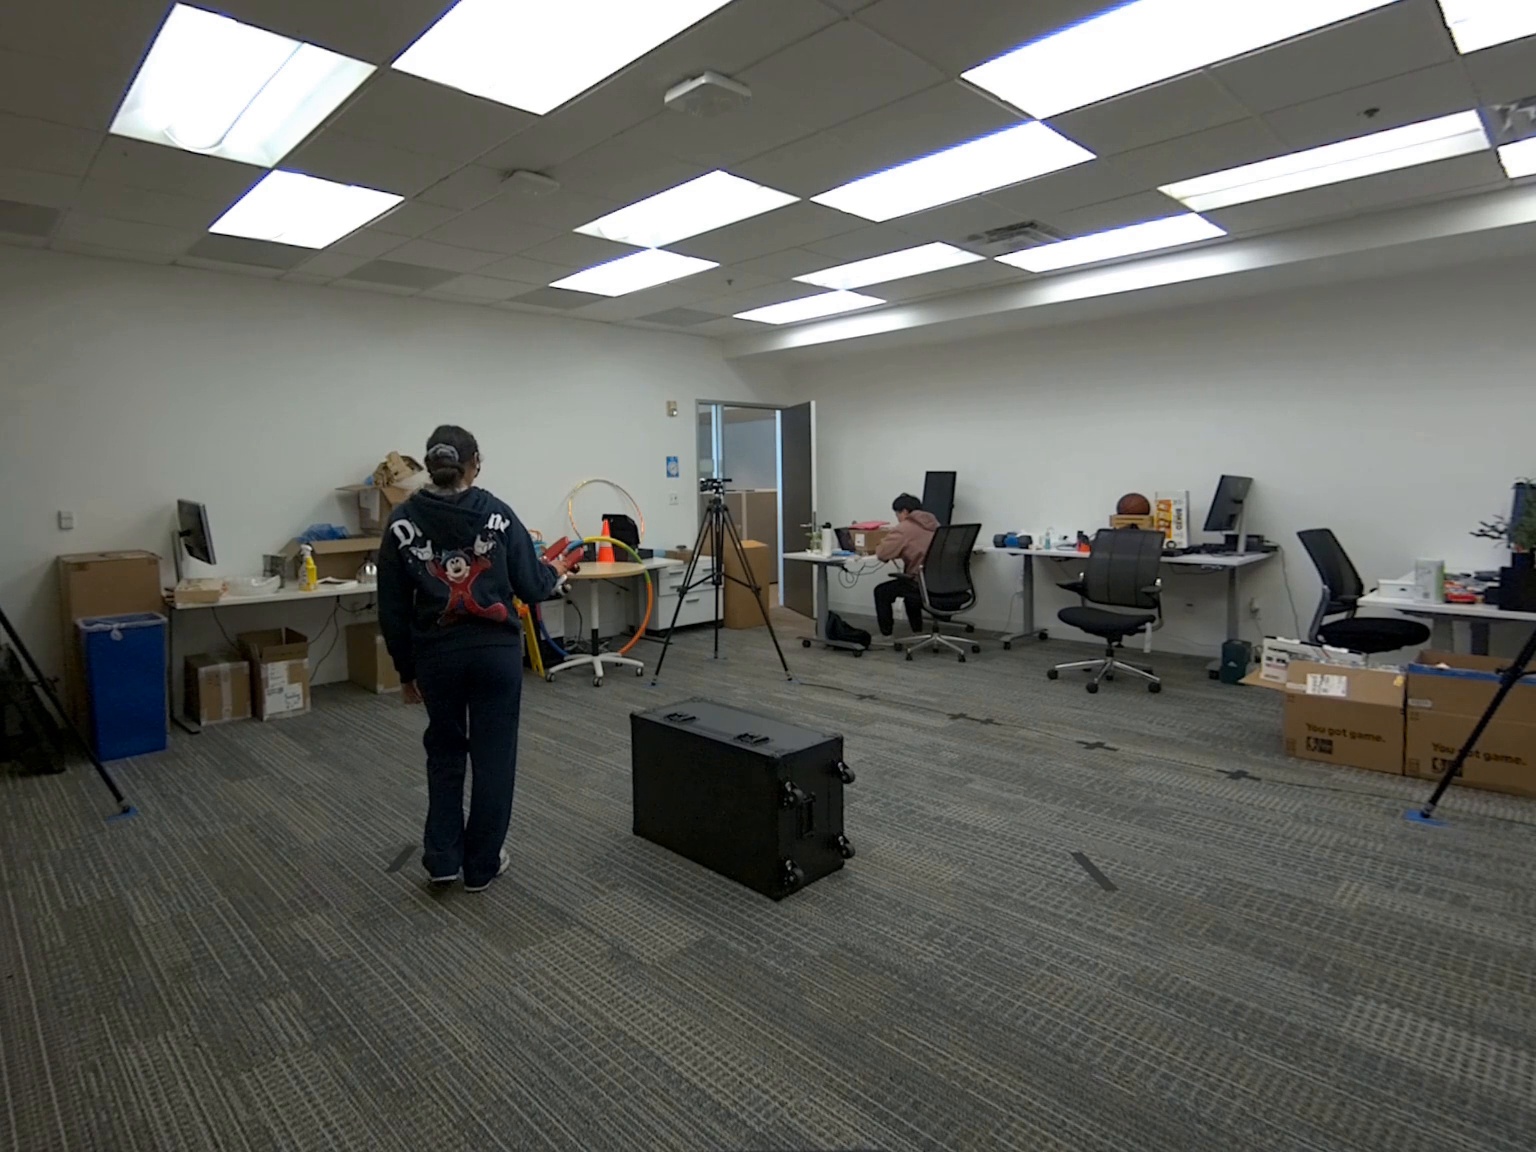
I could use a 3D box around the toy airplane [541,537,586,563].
[{"bbox_3d":[-0.814,-0.023,3.321,0.251,0.153,0.264,-48,17,-16],"label":"toy airplane"}]
